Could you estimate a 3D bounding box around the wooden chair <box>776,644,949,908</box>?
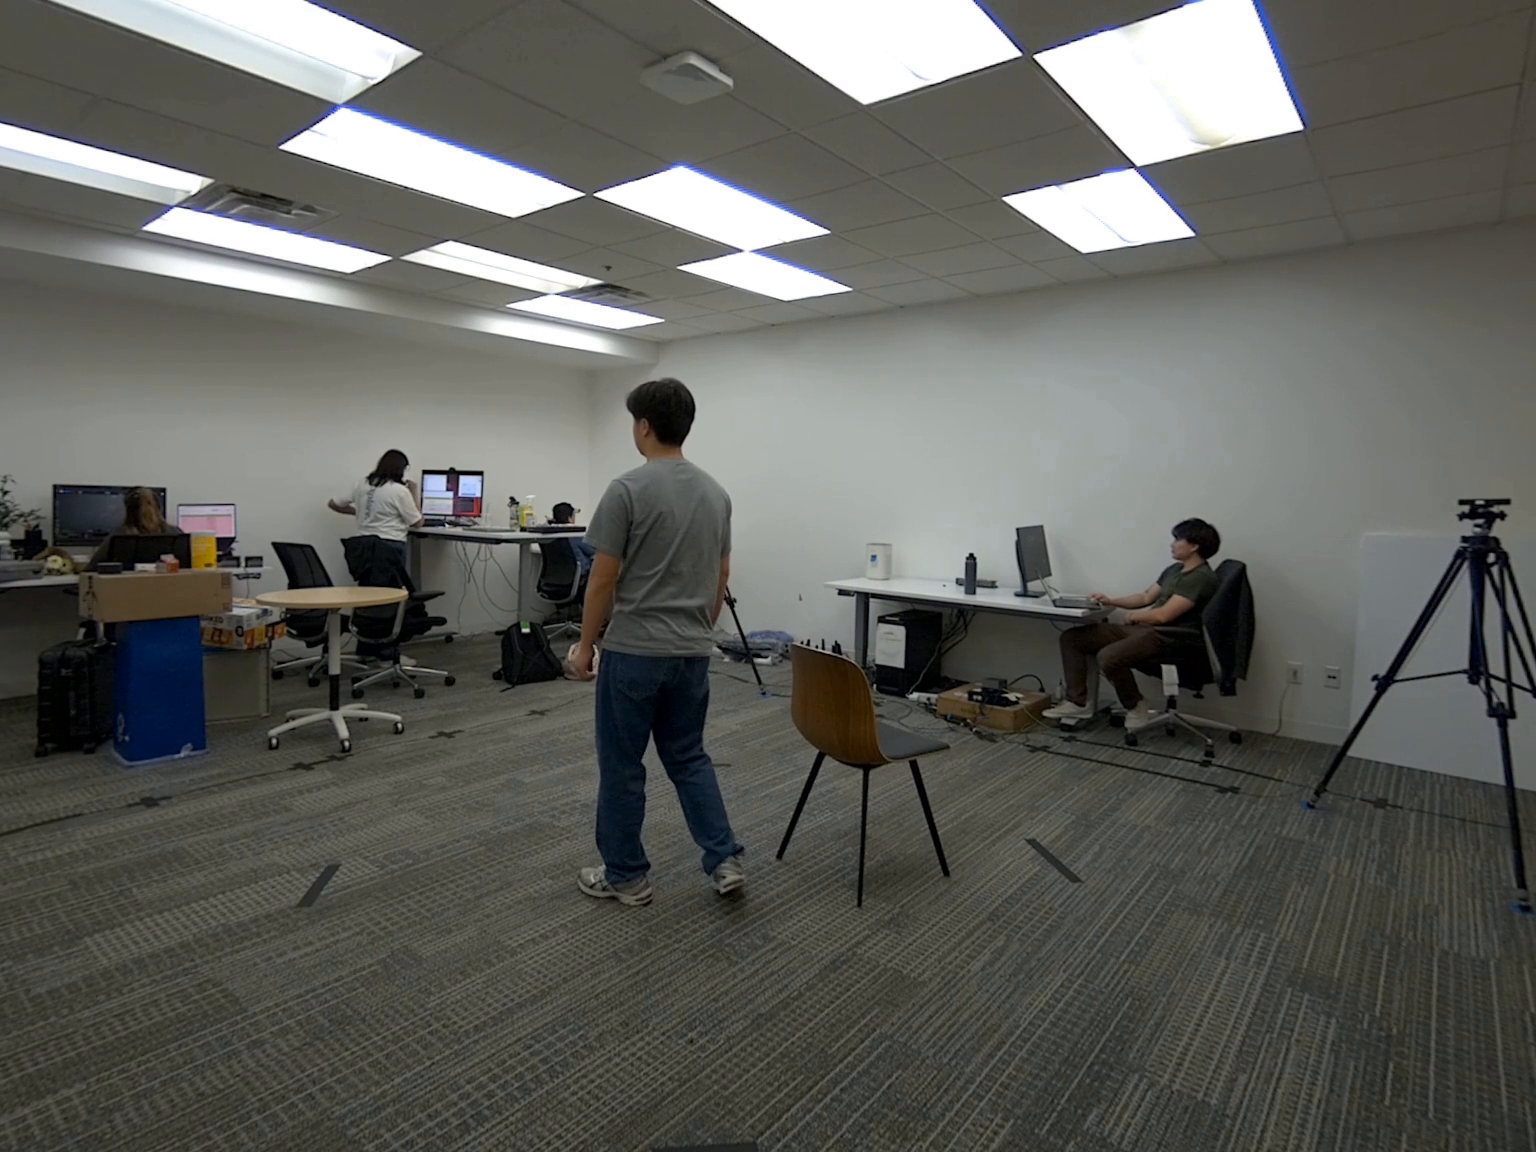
[{"bbox_3d":[0.352,0.652,3.133,0.509,0.872,0.494,-6,7,-36],"label":"wooden chair"}]
